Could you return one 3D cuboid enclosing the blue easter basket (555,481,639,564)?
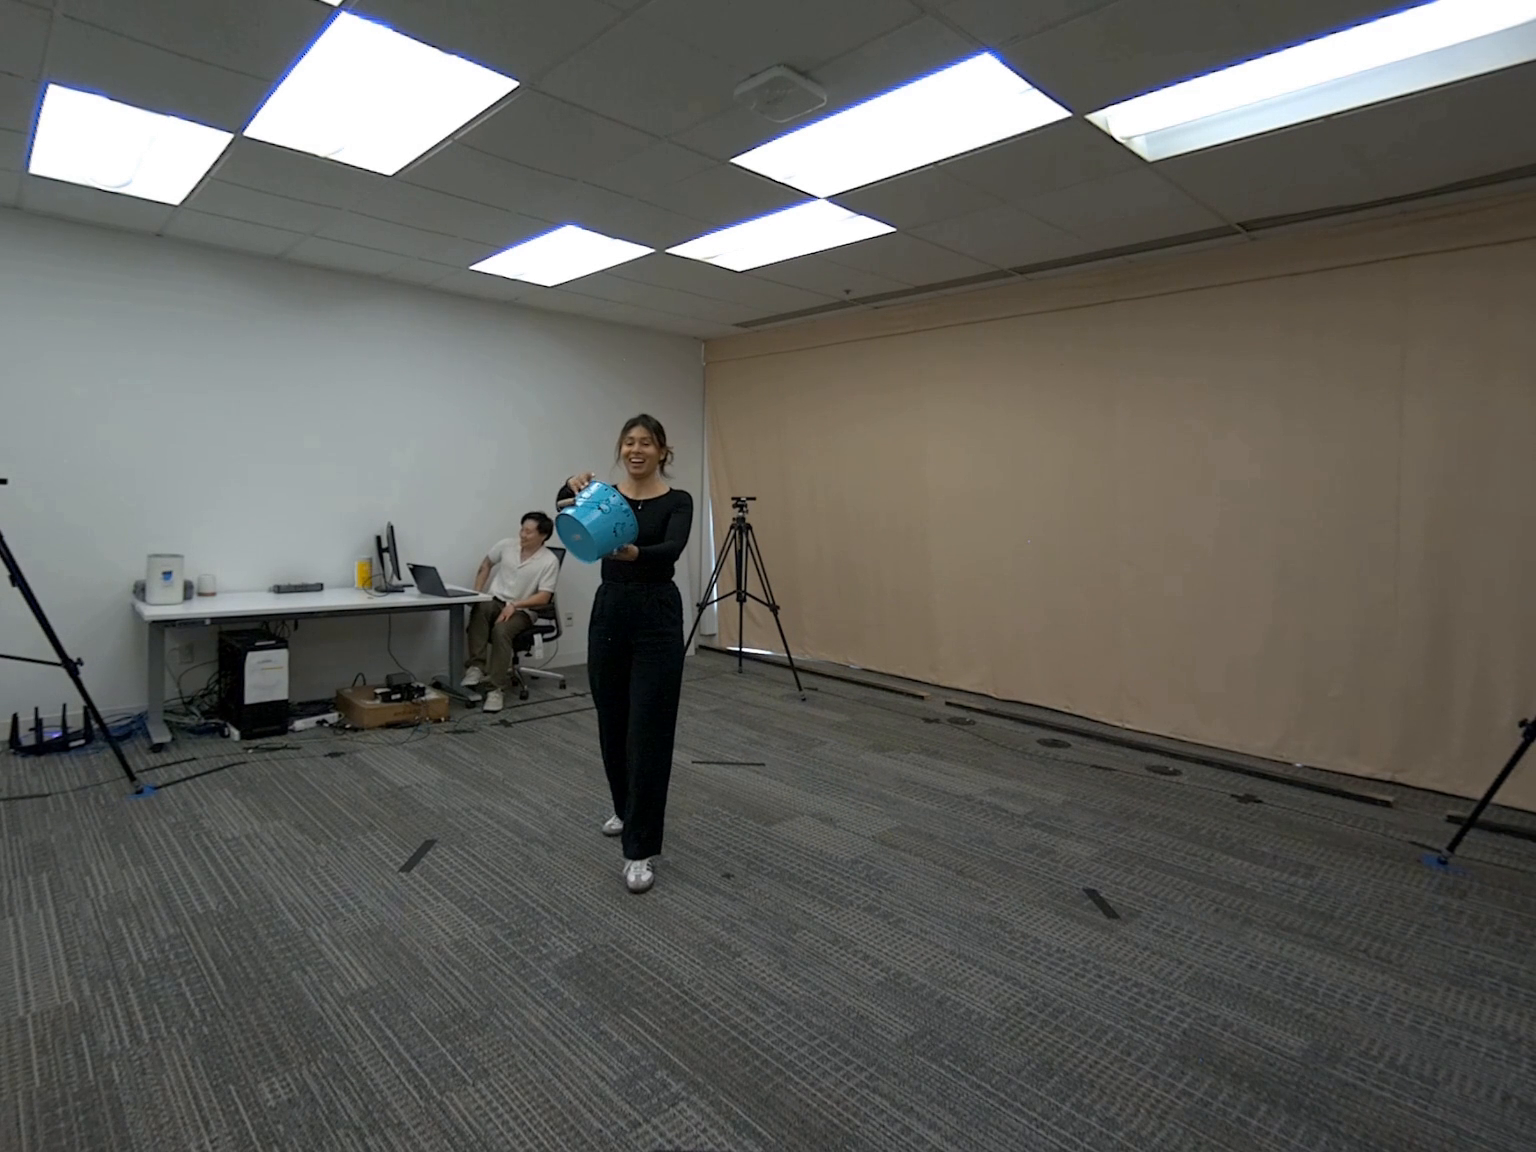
[{"bbox_3d":[-0.554,-0.159,2.594,0.250,0.238,0.155,6,36,46],"label":"blue easter basket"}]
